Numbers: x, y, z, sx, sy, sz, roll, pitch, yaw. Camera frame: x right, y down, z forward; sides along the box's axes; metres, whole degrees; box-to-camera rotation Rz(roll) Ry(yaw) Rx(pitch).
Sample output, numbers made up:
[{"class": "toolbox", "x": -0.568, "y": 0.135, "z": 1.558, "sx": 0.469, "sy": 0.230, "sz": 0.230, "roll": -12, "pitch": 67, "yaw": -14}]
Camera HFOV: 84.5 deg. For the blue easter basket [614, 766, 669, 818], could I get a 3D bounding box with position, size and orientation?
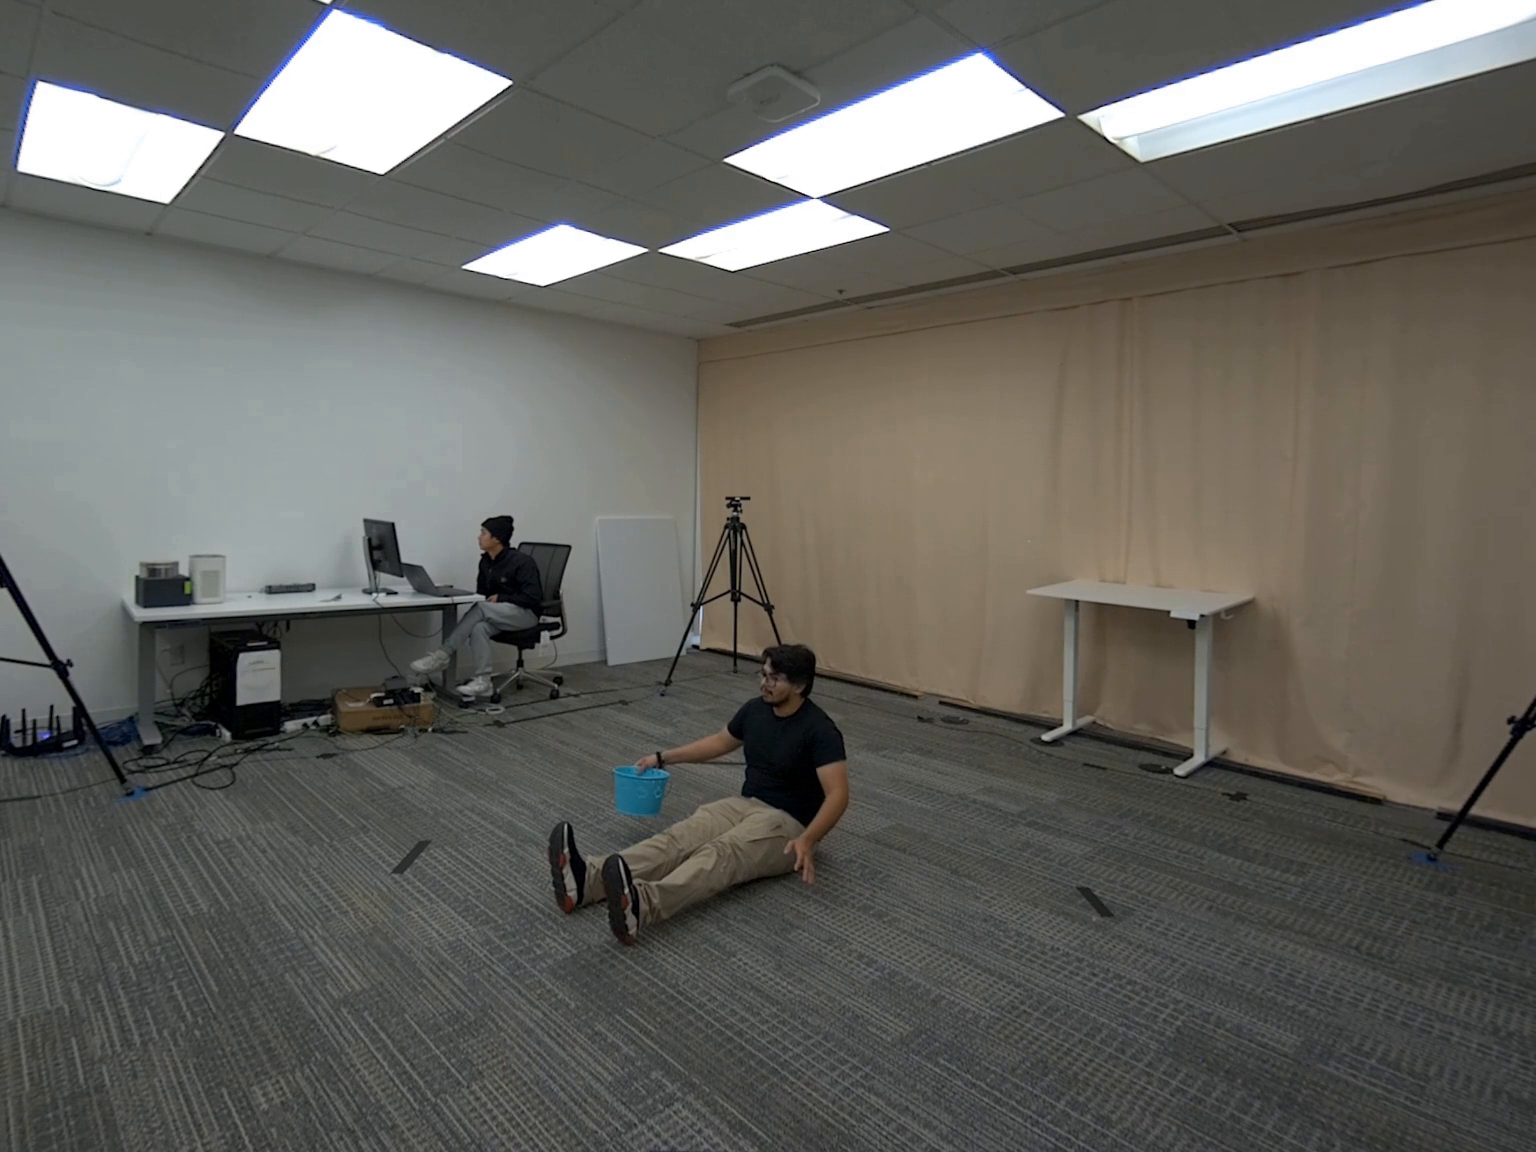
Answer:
[{"class": "blue easter basket", "x": -0.511, "y": 0.869, "z": 3.410, "sx": 0.243, "sy": 0.156, "sz": 0.243, "roll": 6, "pitch": -3, "yaw": -1}]
